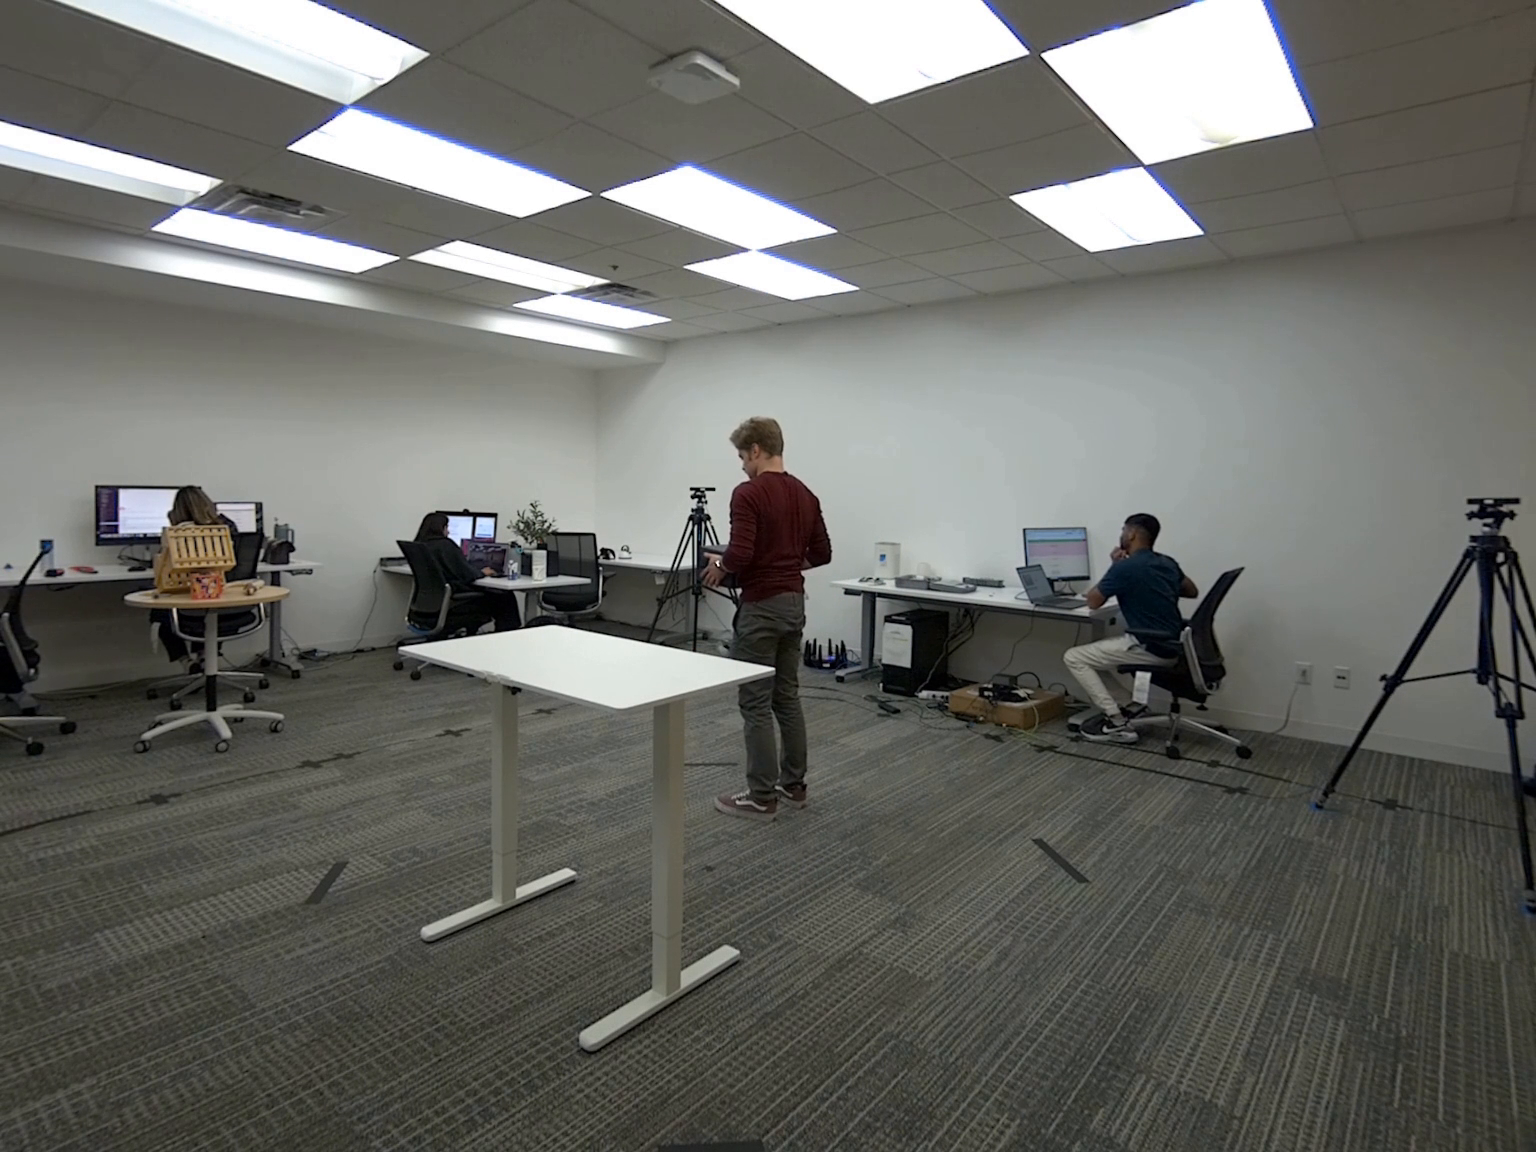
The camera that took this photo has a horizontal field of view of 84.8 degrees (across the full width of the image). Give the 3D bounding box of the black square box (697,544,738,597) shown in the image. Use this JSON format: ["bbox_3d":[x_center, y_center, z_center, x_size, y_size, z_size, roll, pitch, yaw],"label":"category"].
[{"bbox_3d":[-0.174,-0.051,3.831,0.225,0.155,0.221,13,13,40],"label":"black square box"}]
